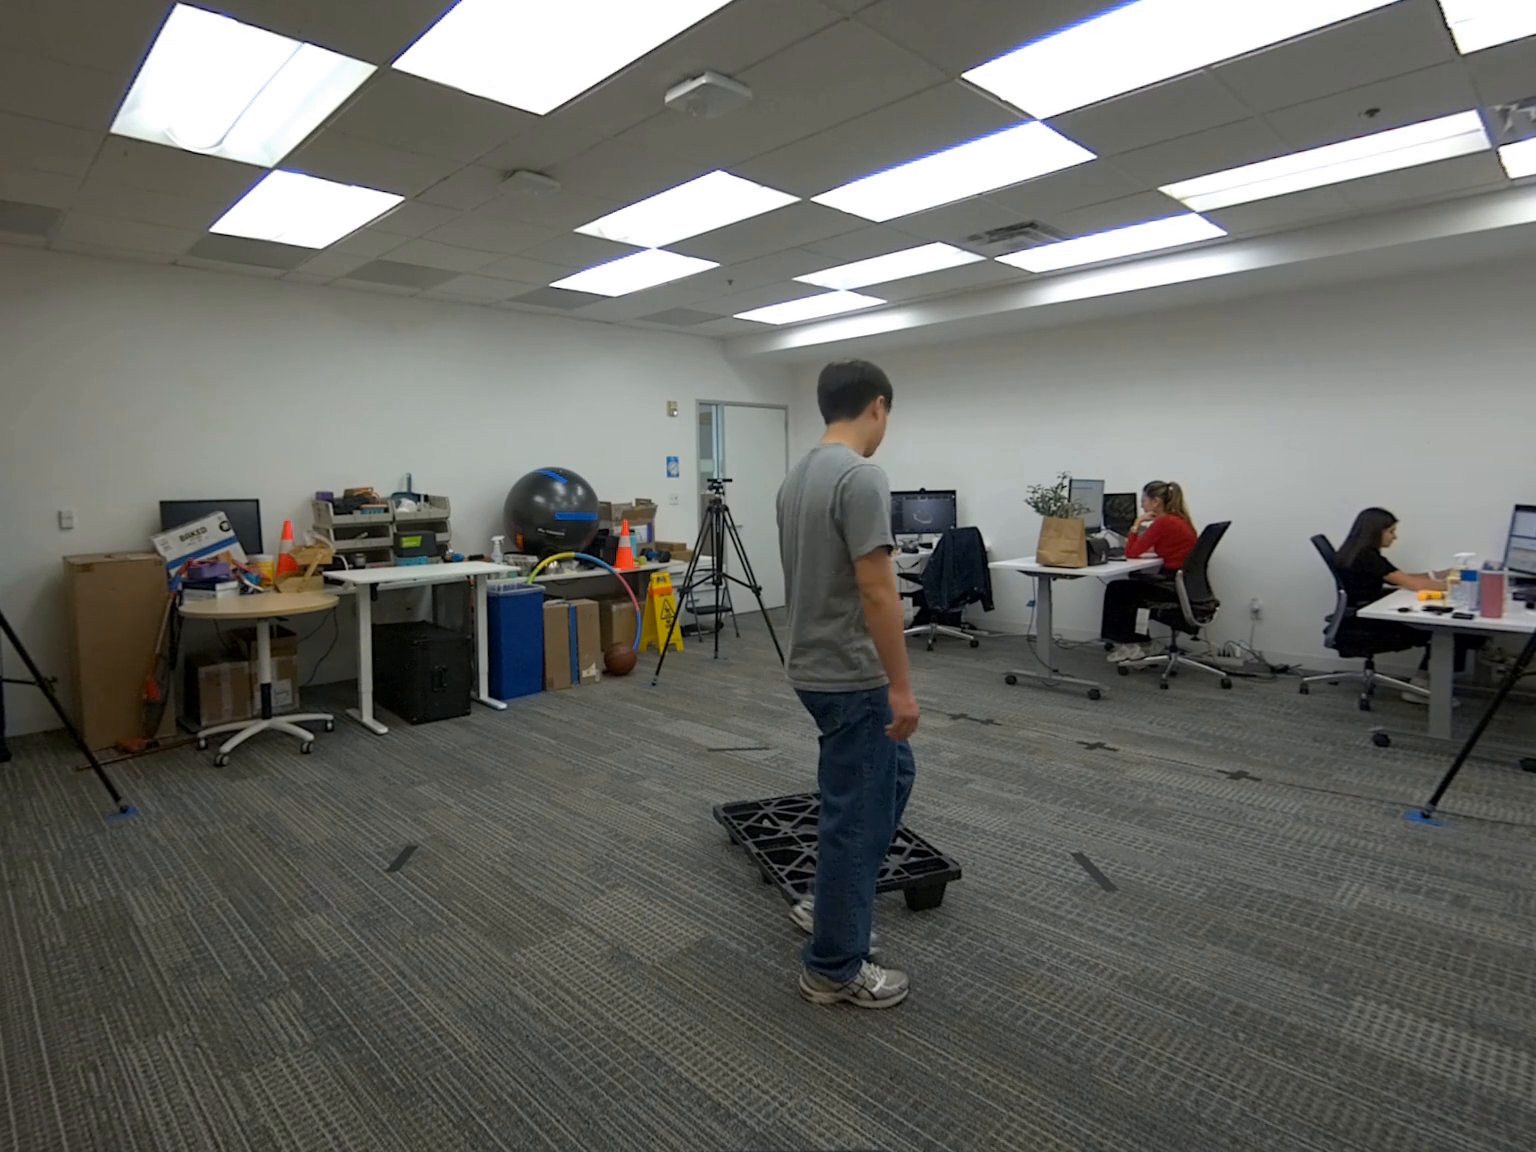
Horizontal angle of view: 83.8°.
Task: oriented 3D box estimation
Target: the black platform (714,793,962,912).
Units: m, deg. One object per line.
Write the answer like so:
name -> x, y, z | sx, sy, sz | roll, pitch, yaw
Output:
black platform -> 0.210, 0.982, 3.033 | 0.595, 0.143, 0.823 | -4, 7, -21
